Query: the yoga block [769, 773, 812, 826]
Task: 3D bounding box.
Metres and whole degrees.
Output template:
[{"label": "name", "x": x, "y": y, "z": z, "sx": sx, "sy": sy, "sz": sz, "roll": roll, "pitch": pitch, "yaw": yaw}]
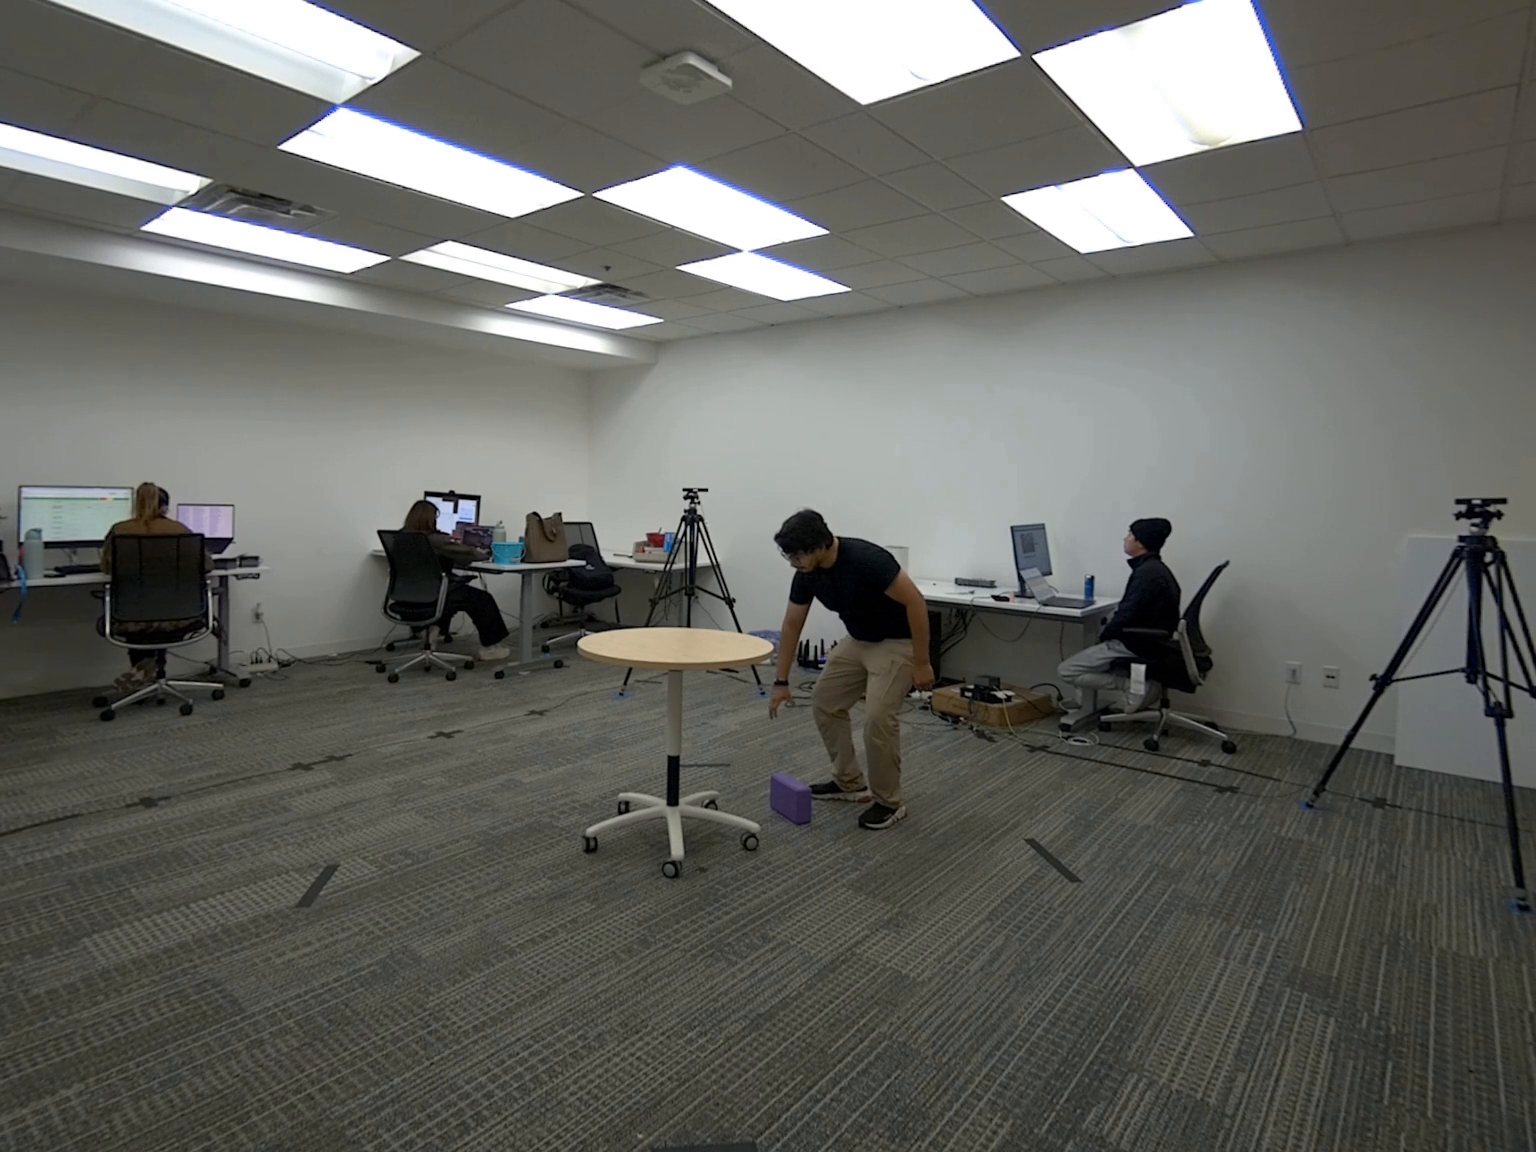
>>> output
[{"label": "yoga block", "x": 0.090, "y": 0.949, "z": 3.657, "sx": 0.074, "sy": 0.148, "sz": 0.236, "roll": -4, "pitch": 6, "yaw": -28}]
